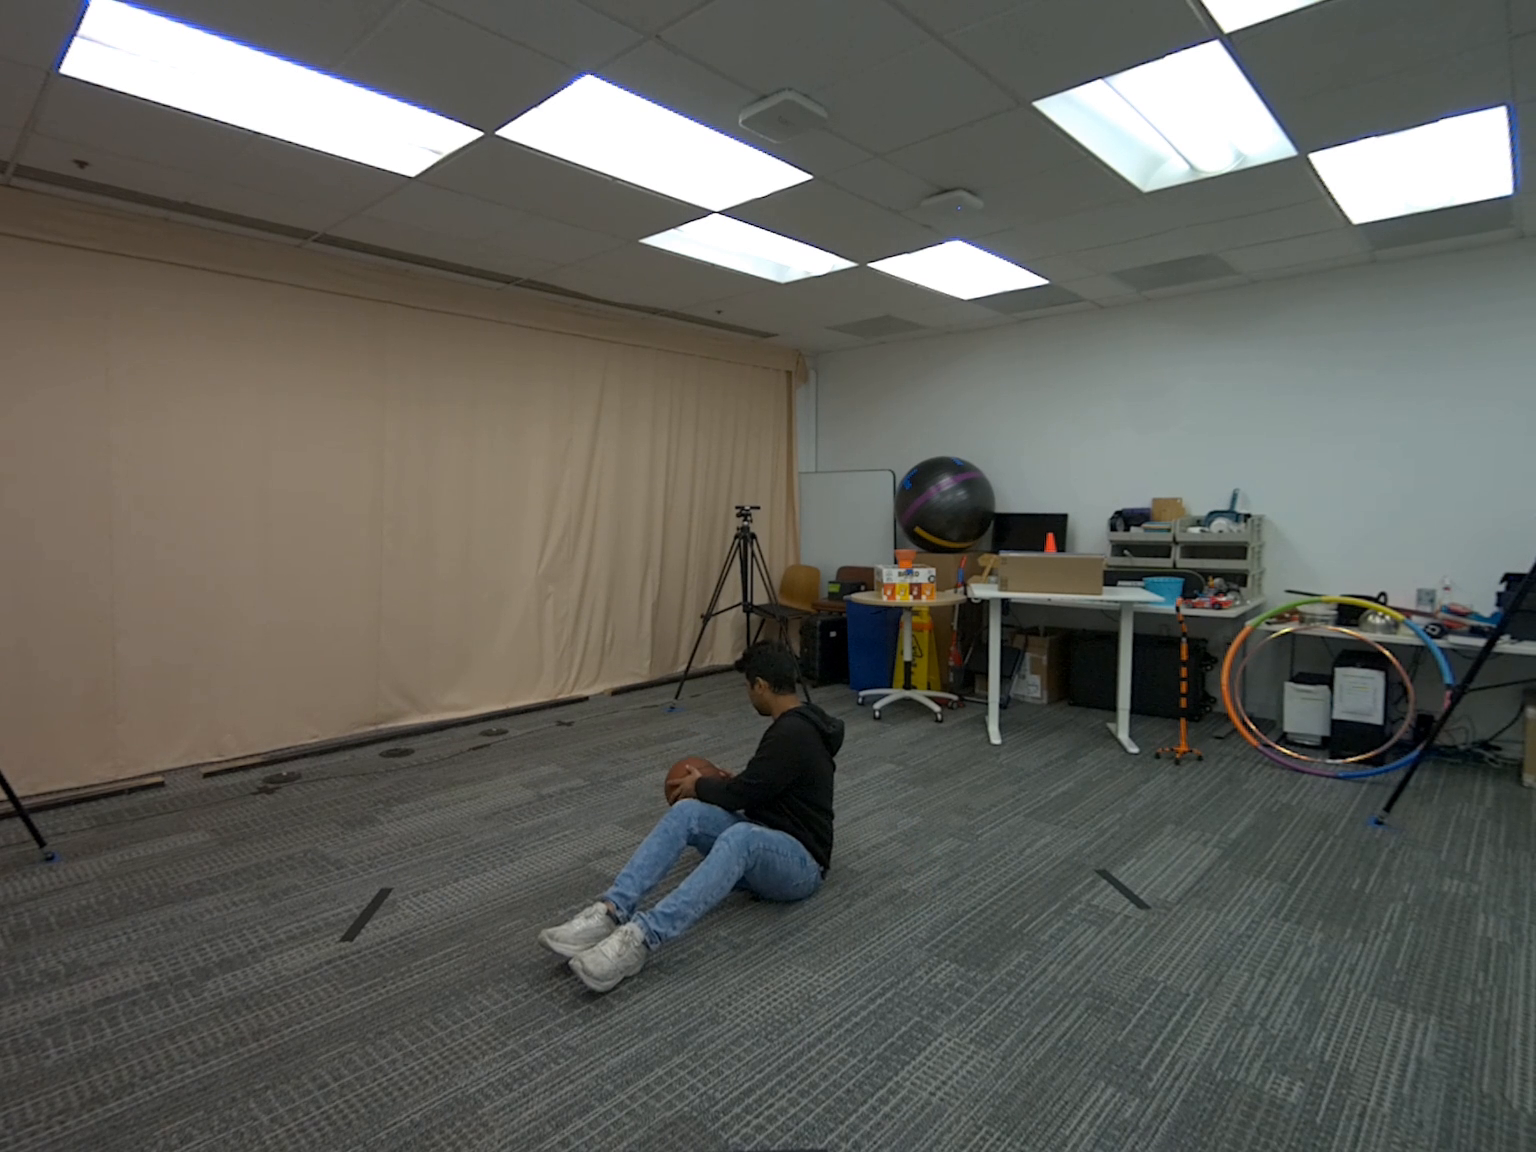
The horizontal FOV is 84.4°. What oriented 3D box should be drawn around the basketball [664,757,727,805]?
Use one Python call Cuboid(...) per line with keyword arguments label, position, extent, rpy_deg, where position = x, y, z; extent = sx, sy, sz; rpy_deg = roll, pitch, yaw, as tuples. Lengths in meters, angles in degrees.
Cuboid(label="basketball", position=(-0.300, 0.856, 3.398), extent=(0.236, 0.235, 0.237), rpy_deg=(0, 4, -2))
